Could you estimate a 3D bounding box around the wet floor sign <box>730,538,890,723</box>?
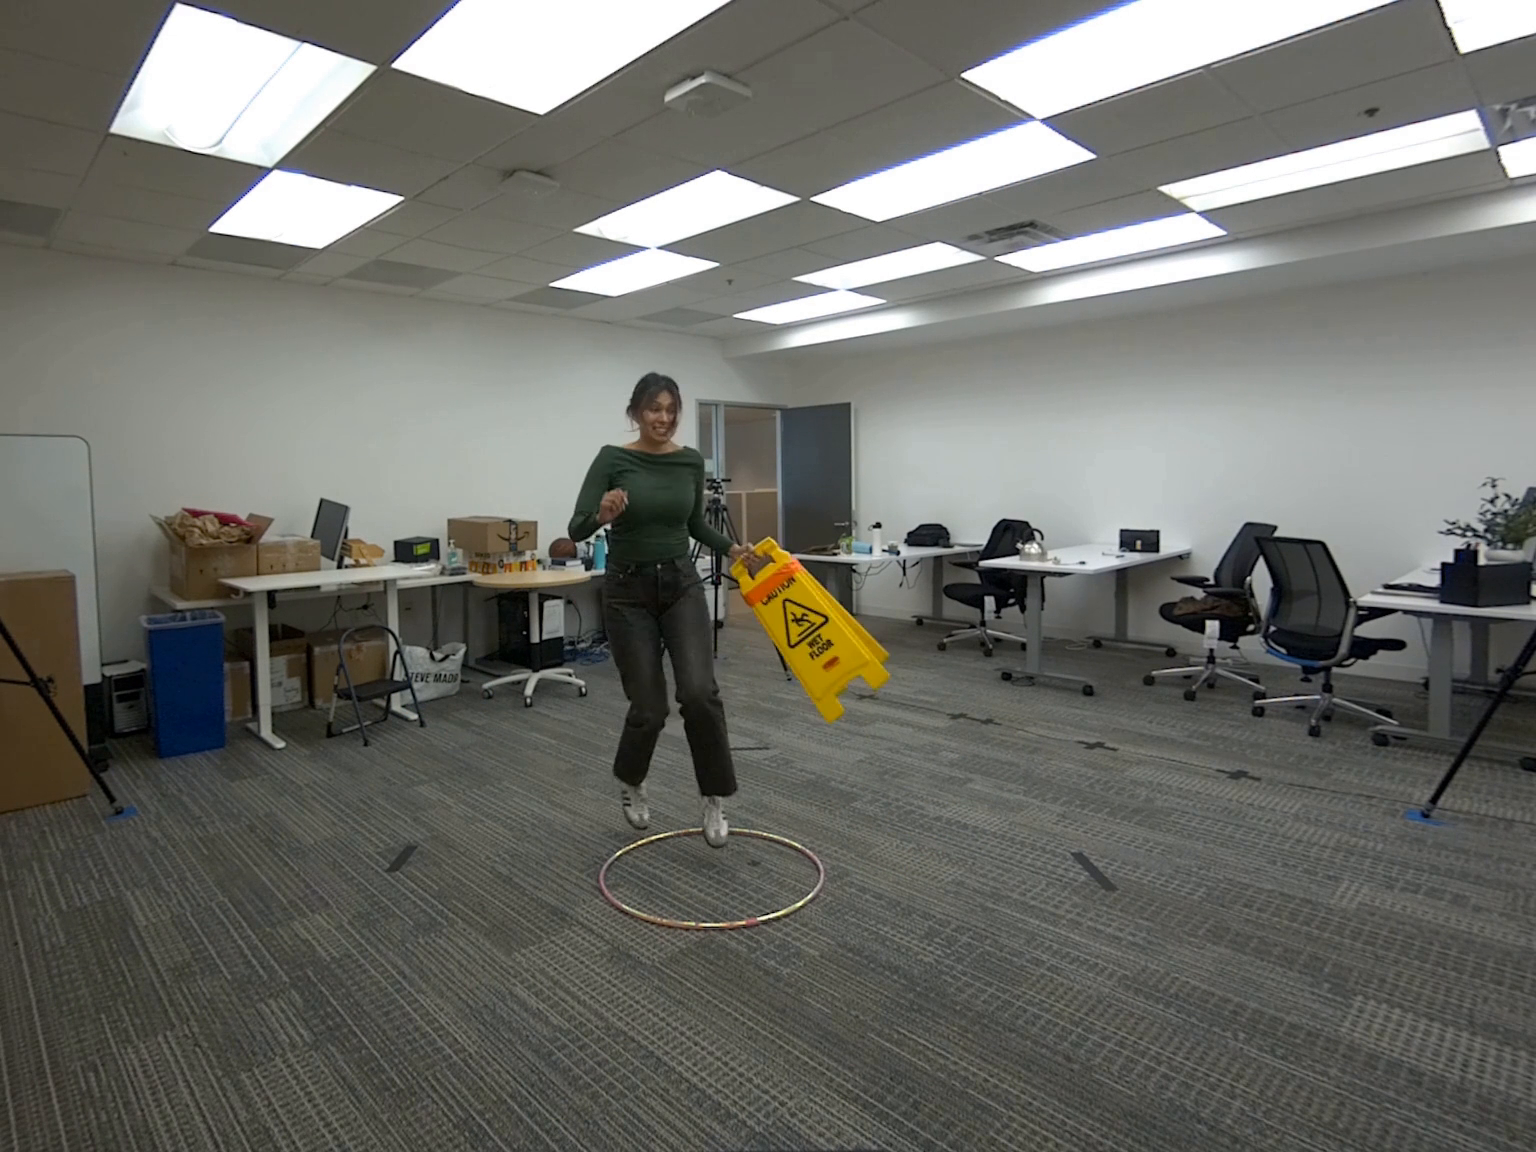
[{"bbox_3d":[0.105,0.187,3.121,0.283,0.647,0.289,-40,0,12],"label":"wet floor sign"}]
